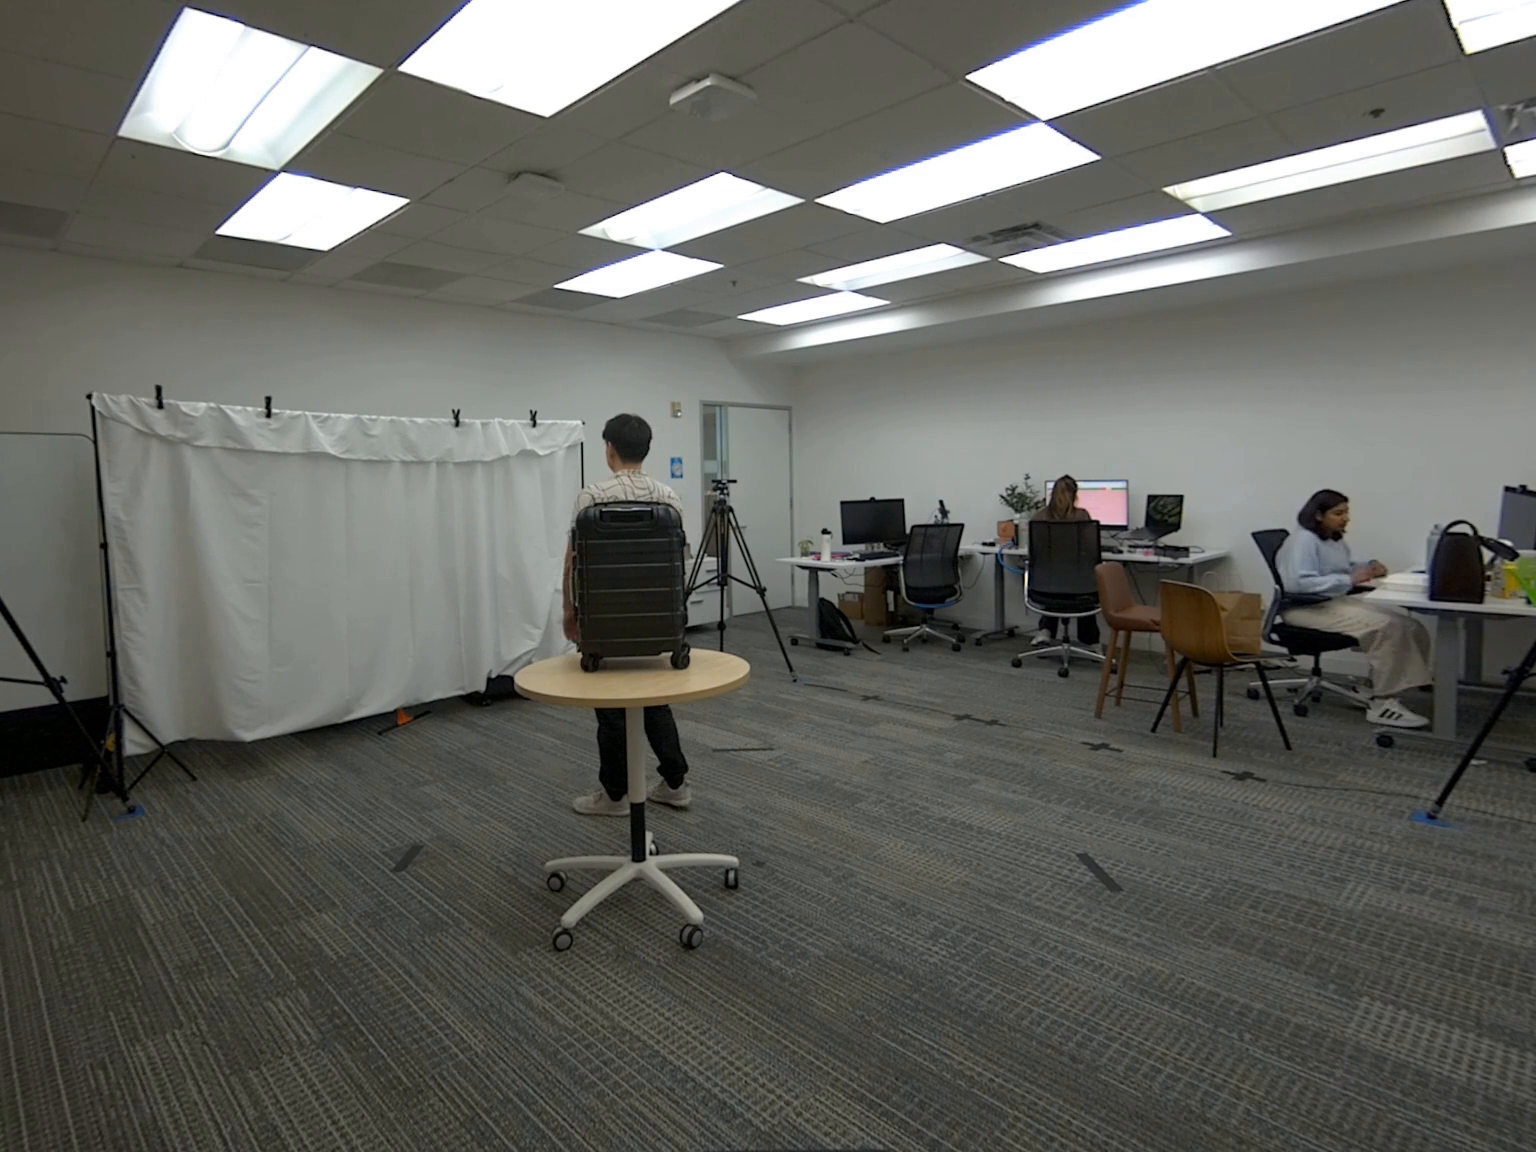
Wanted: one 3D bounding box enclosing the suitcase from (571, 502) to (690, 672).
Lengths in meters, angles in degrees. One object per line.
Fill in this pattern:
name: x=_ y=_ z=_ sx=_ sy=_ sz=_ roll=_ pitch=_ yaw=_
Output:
suitcase: x=-0.473 y=0.023 z=2.882 sx=0.375 sy=0.547 sz=0.249 roll=-3 pitch=4 yaw=-1
